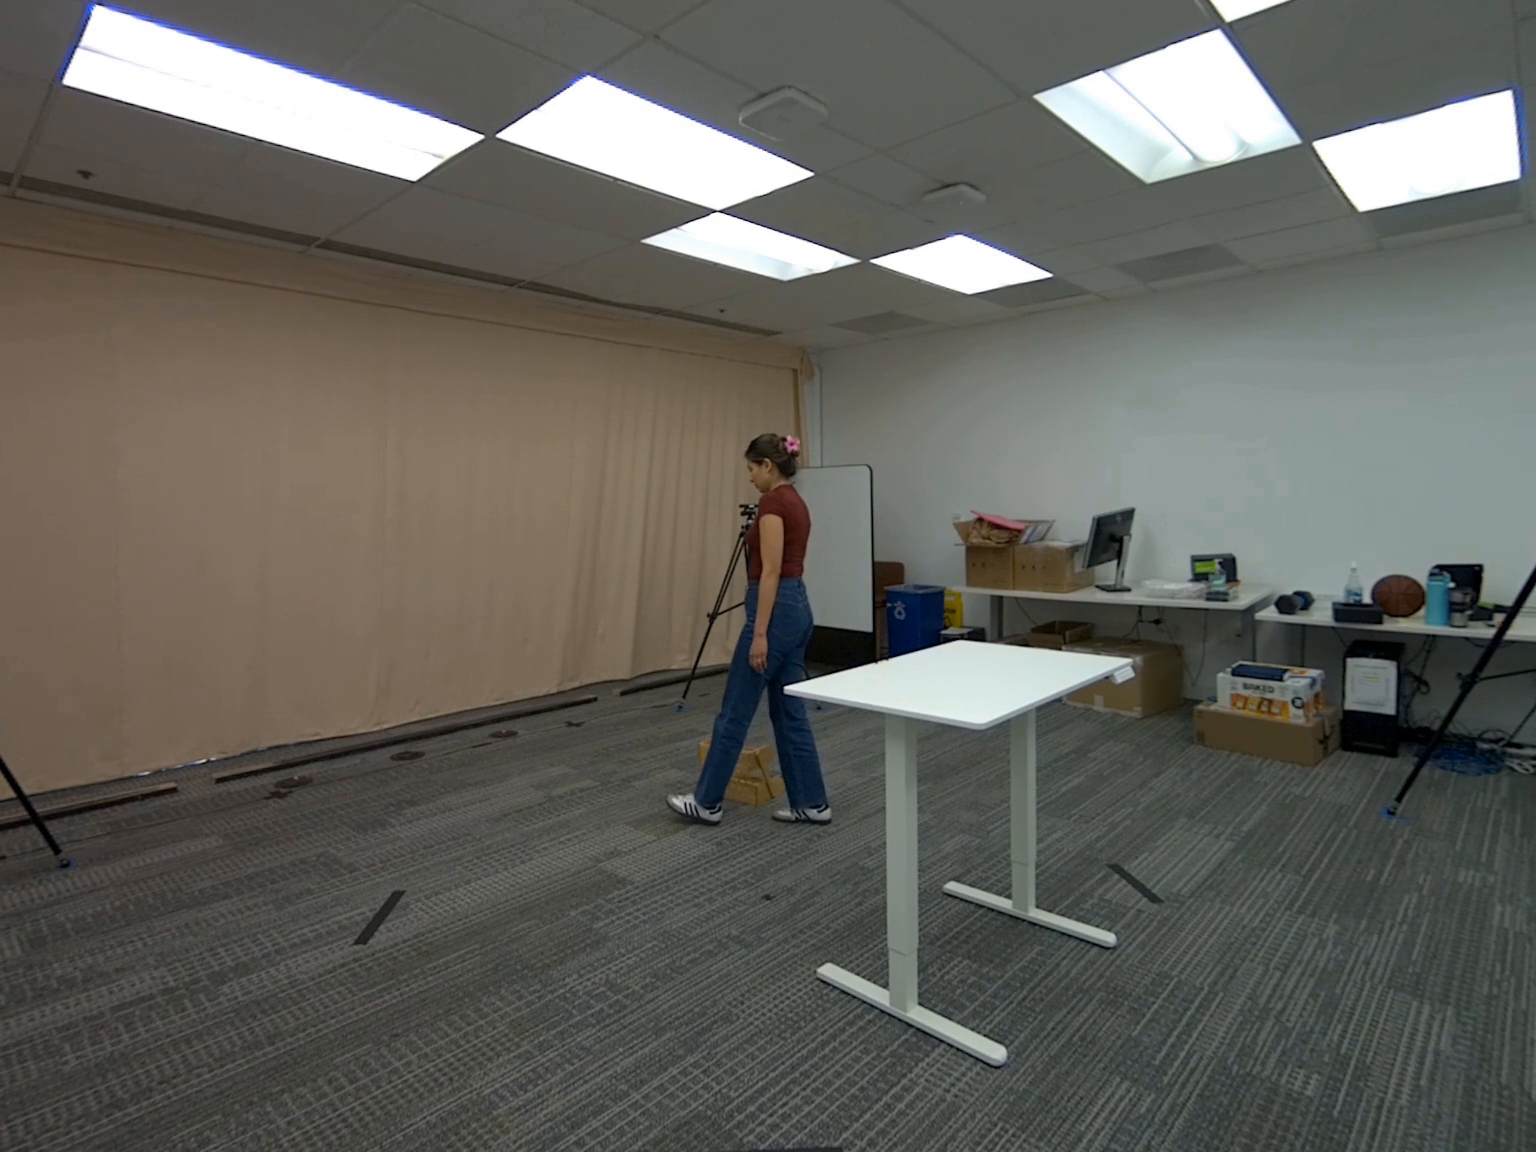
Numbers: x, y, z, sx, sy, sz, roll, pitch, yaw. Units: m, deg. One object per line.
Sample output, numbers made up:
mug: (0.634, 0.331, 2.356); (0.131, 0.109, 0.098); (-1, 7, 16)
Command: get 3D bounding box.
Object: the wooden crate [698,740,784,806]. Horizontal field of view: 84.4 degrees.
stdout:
wooden crate: (-0.124, 0.919, 4.064); (0.334, 0.273, 0.294); (2, 5, 33)
